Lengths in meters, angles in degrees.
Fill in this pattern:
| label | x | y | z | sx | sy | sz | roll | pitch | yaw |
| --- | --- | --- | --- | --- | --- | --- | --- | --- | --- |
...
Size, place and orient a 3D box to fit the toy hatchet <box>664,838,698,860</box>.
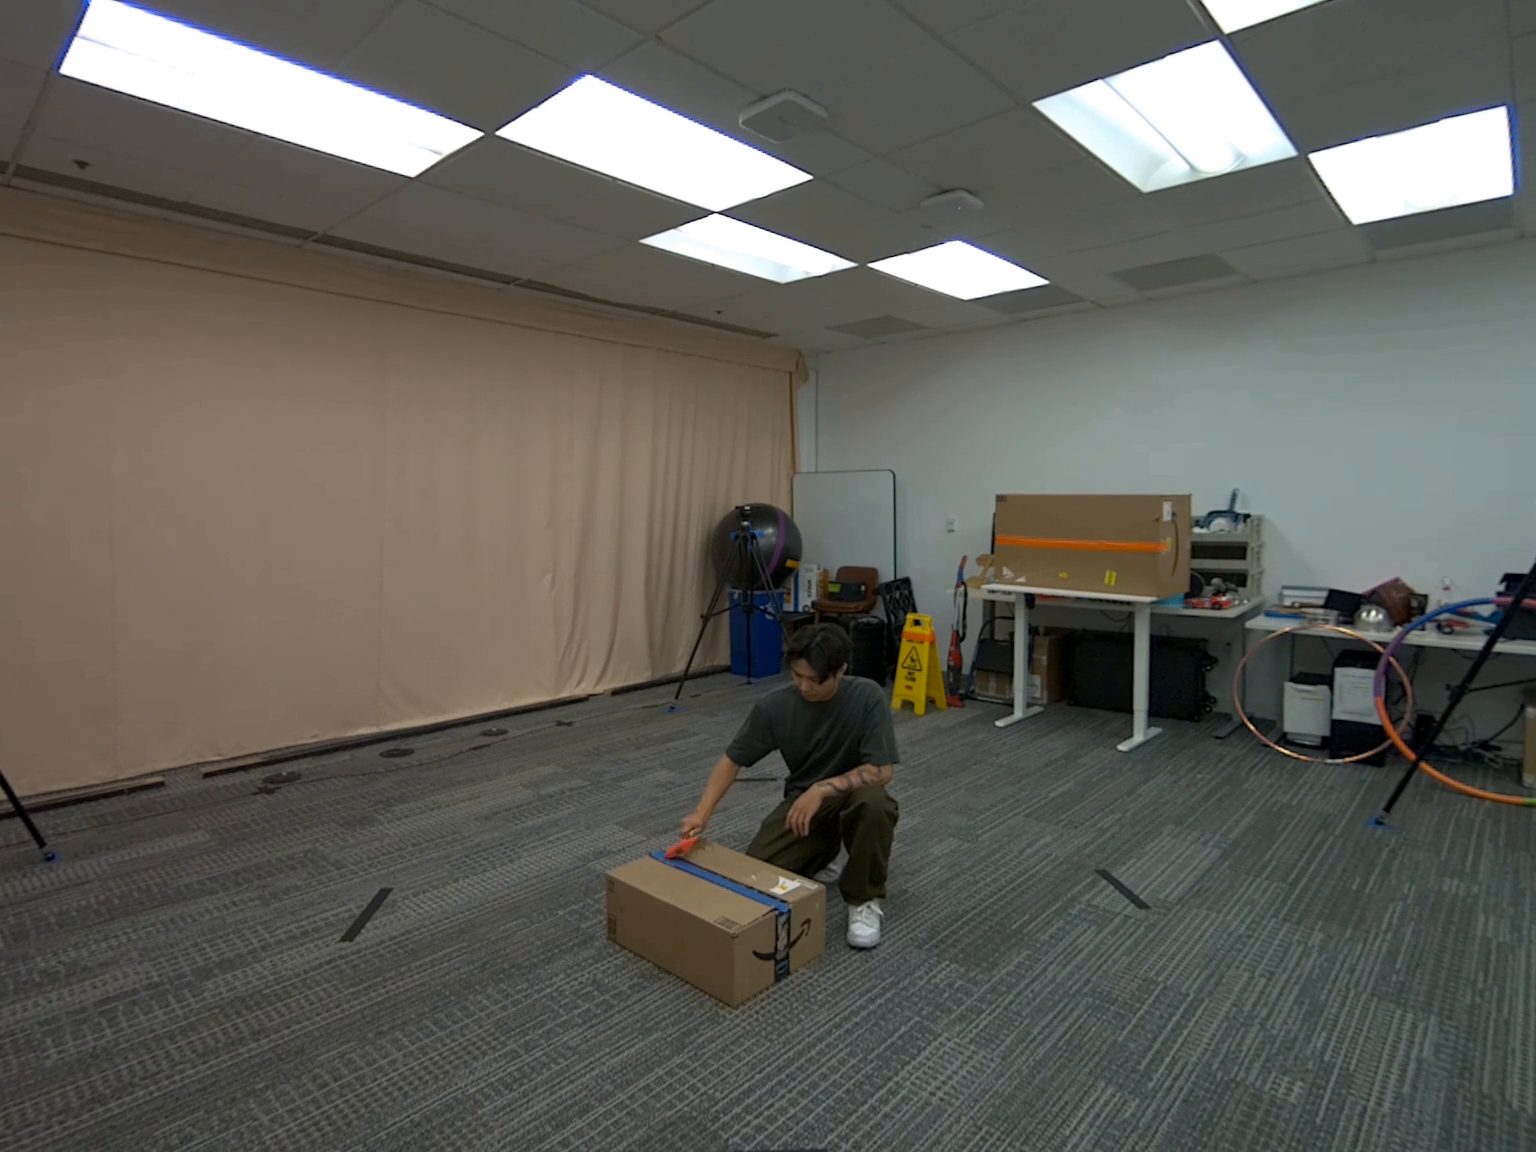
| label | x | y | z | sx | sy | sz | roll | pitch | yaw |
| --- | --- | --- | --- | --- | --- | --- | --- | --- | --- |
| toy hatchet | -0.276 | 0.909 | 2.908 | 0.131 | 0.030 | 0.270 | -37 | -1 | -5 |
